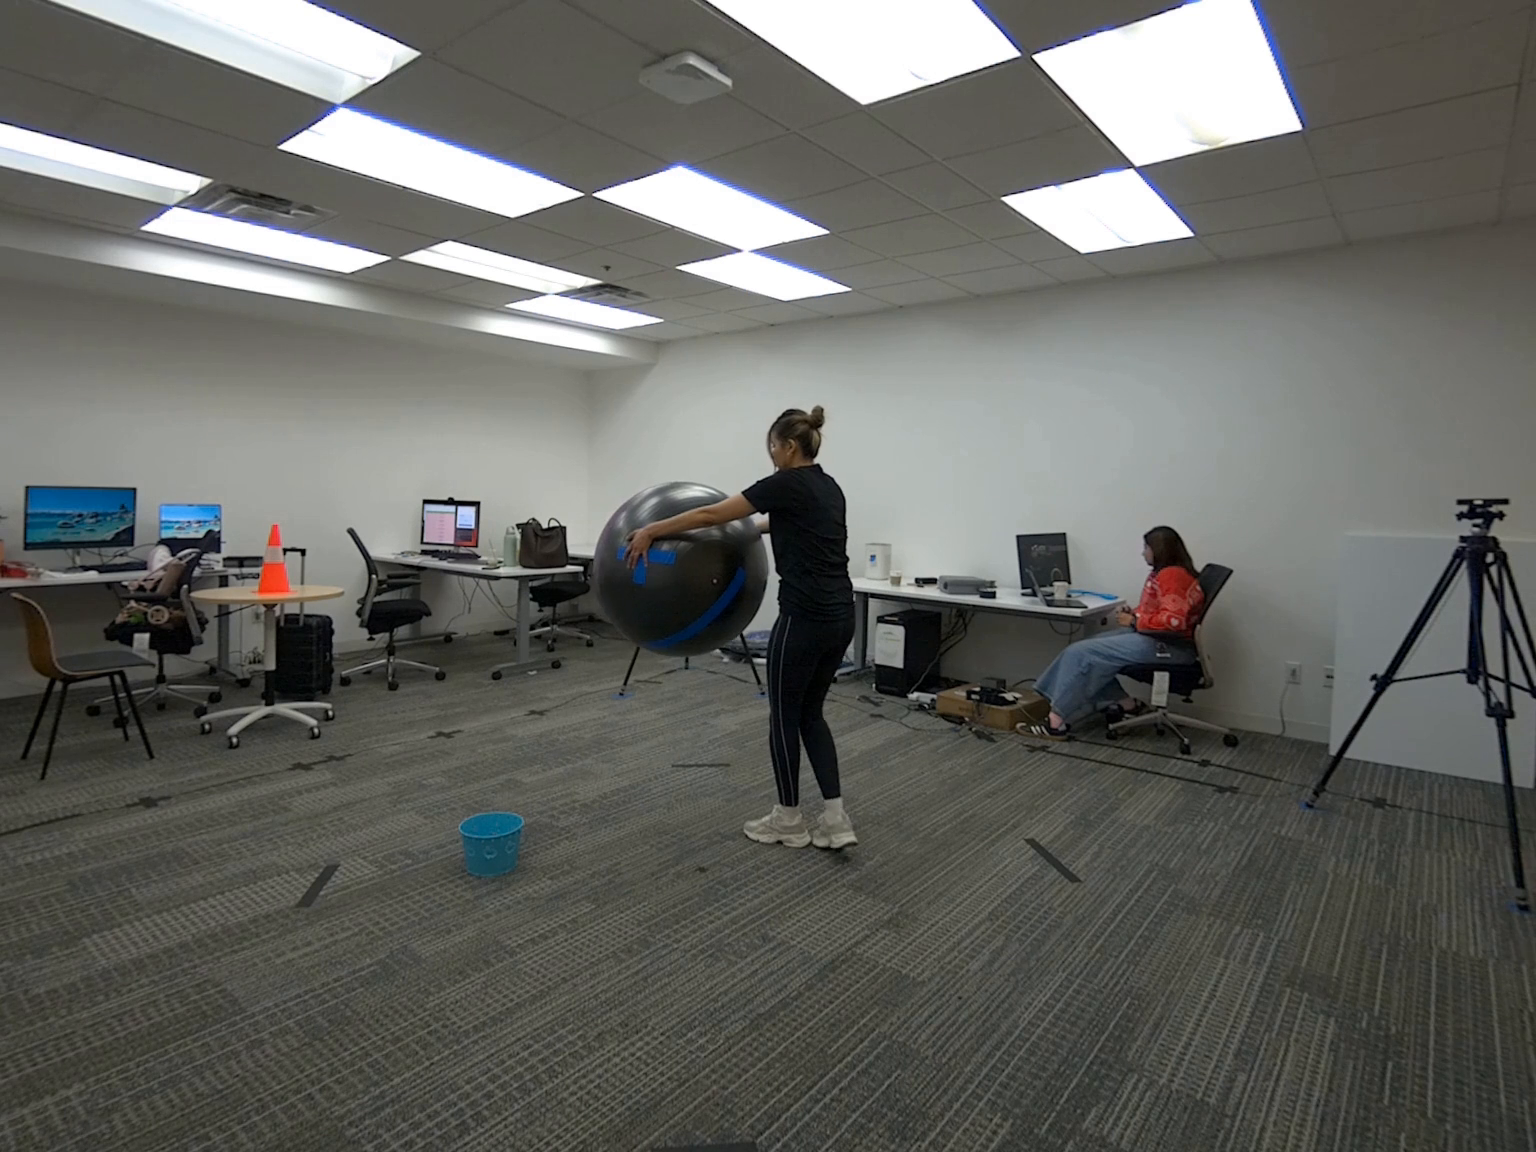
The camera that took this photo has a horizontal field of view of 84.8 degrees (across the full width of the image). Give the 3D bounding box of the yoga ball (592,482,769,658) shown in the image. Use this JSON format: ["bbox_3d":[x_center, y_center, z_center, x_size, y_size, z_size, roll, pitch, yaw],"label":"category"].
[{"bbox_3d":[-0.389,-0.021,3.704,0.757,0.756,0.762,1,4,-2],"label":"yoga ball"}]
